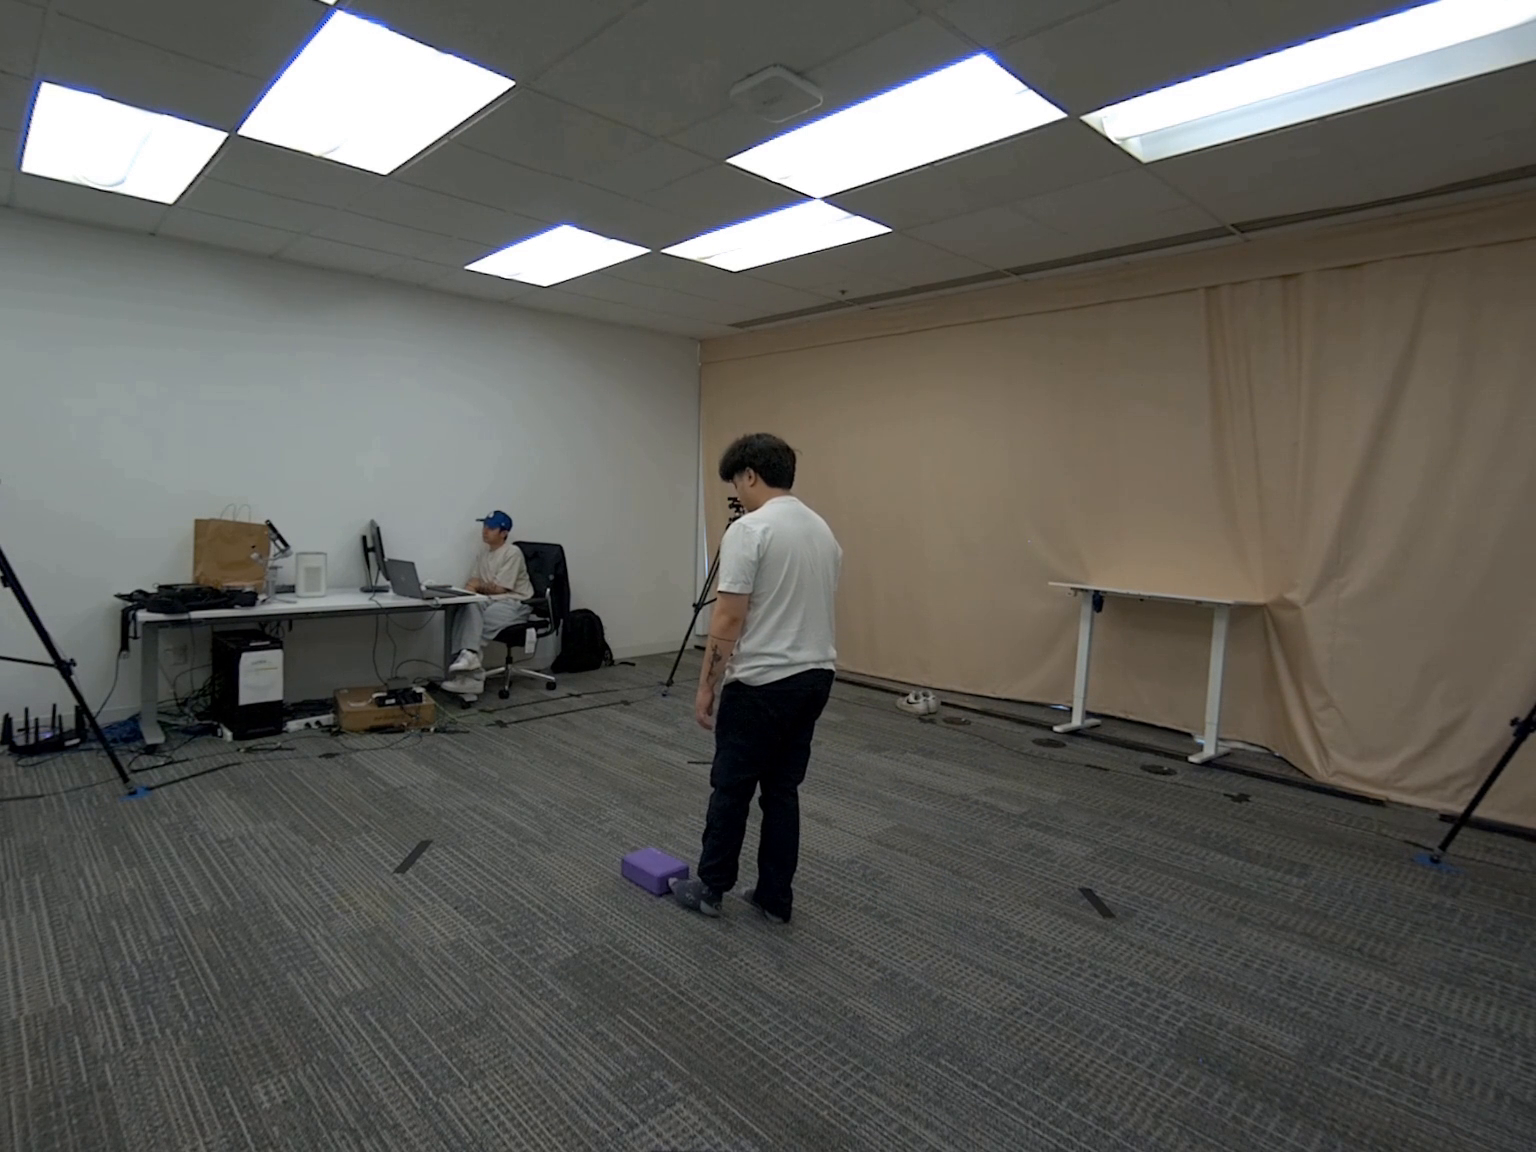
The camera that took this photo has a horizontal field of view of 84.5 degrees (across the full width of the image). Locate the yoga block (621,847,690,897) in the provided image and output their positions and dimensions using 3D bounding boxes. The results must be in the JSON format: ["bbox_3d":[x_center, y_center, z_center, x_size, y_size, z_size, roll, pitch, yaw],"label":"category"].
[{"bbox_3d":[-0.417,1.065,3.053,0.146,0.076,0.235,-5,7,-44],"label":"yoga block"}]
